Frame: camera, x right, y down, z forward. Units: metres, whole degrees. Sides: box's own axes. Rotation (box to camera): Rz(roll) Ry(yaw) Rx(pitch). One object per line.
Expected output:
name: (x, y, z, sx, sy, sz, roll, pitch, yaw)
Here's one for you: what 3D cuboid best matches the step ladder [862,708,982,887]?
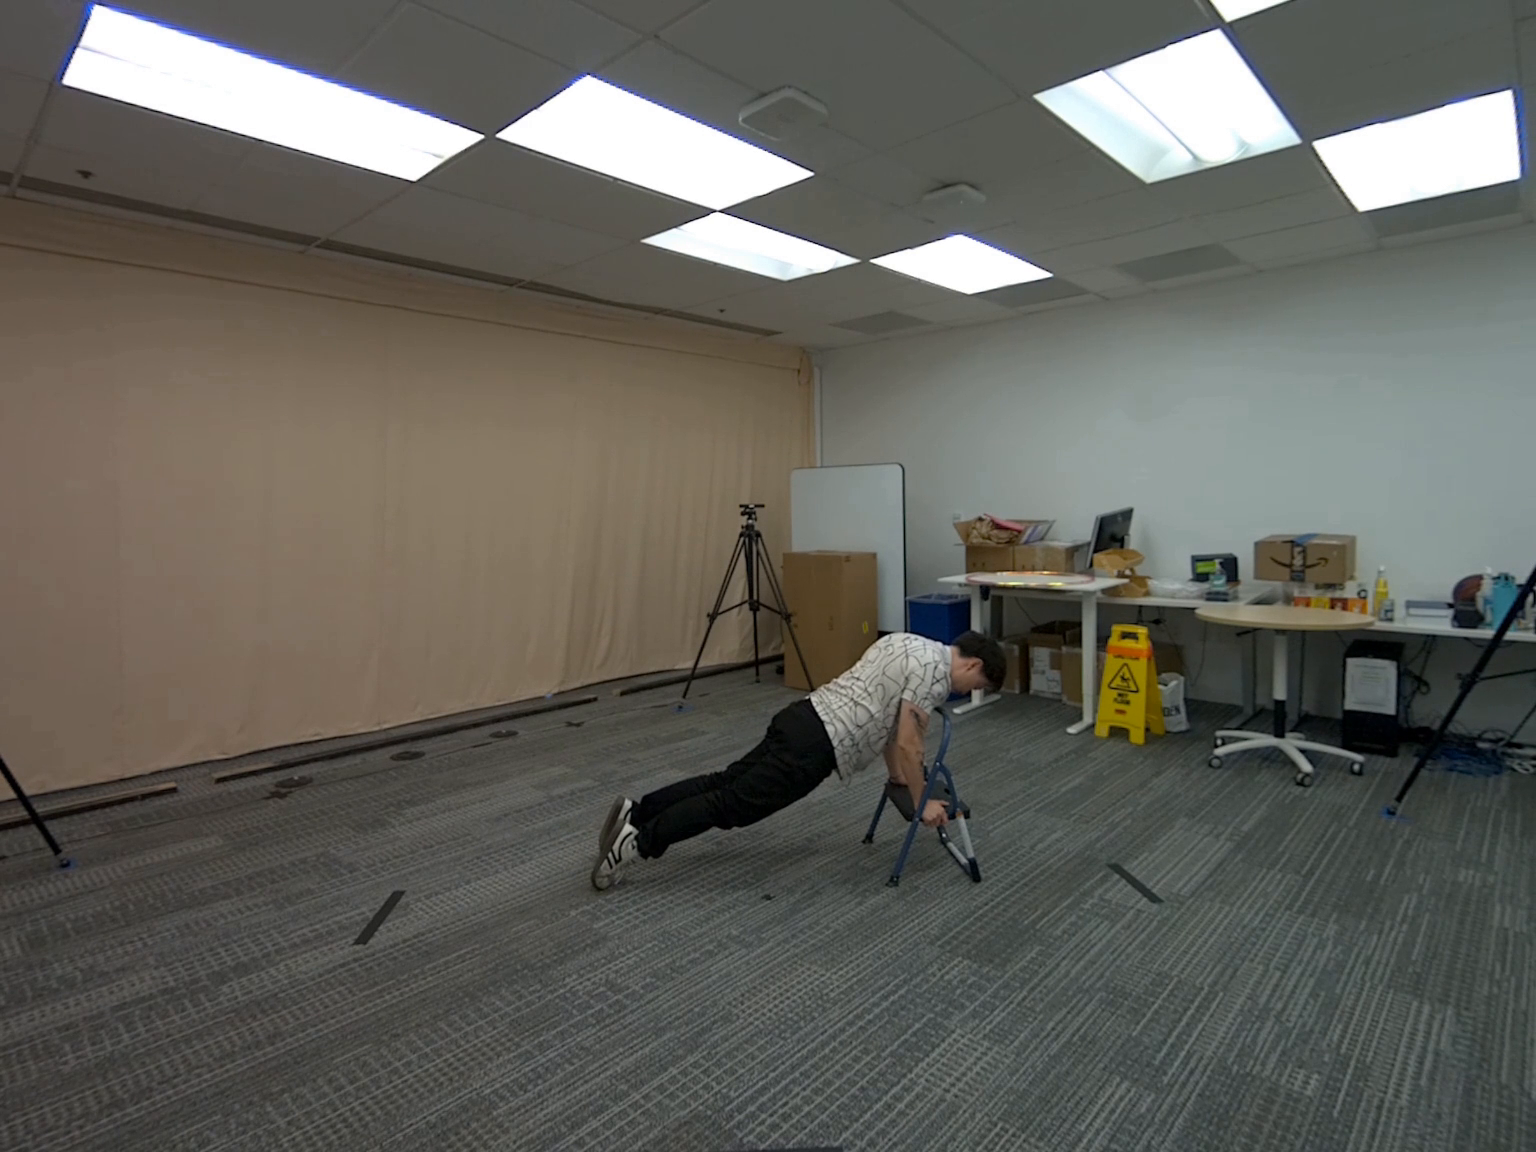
step ladder: (0.586, 0.809, 3.246, 0.348, 0.604, 0.434, -2, 4, -5)
